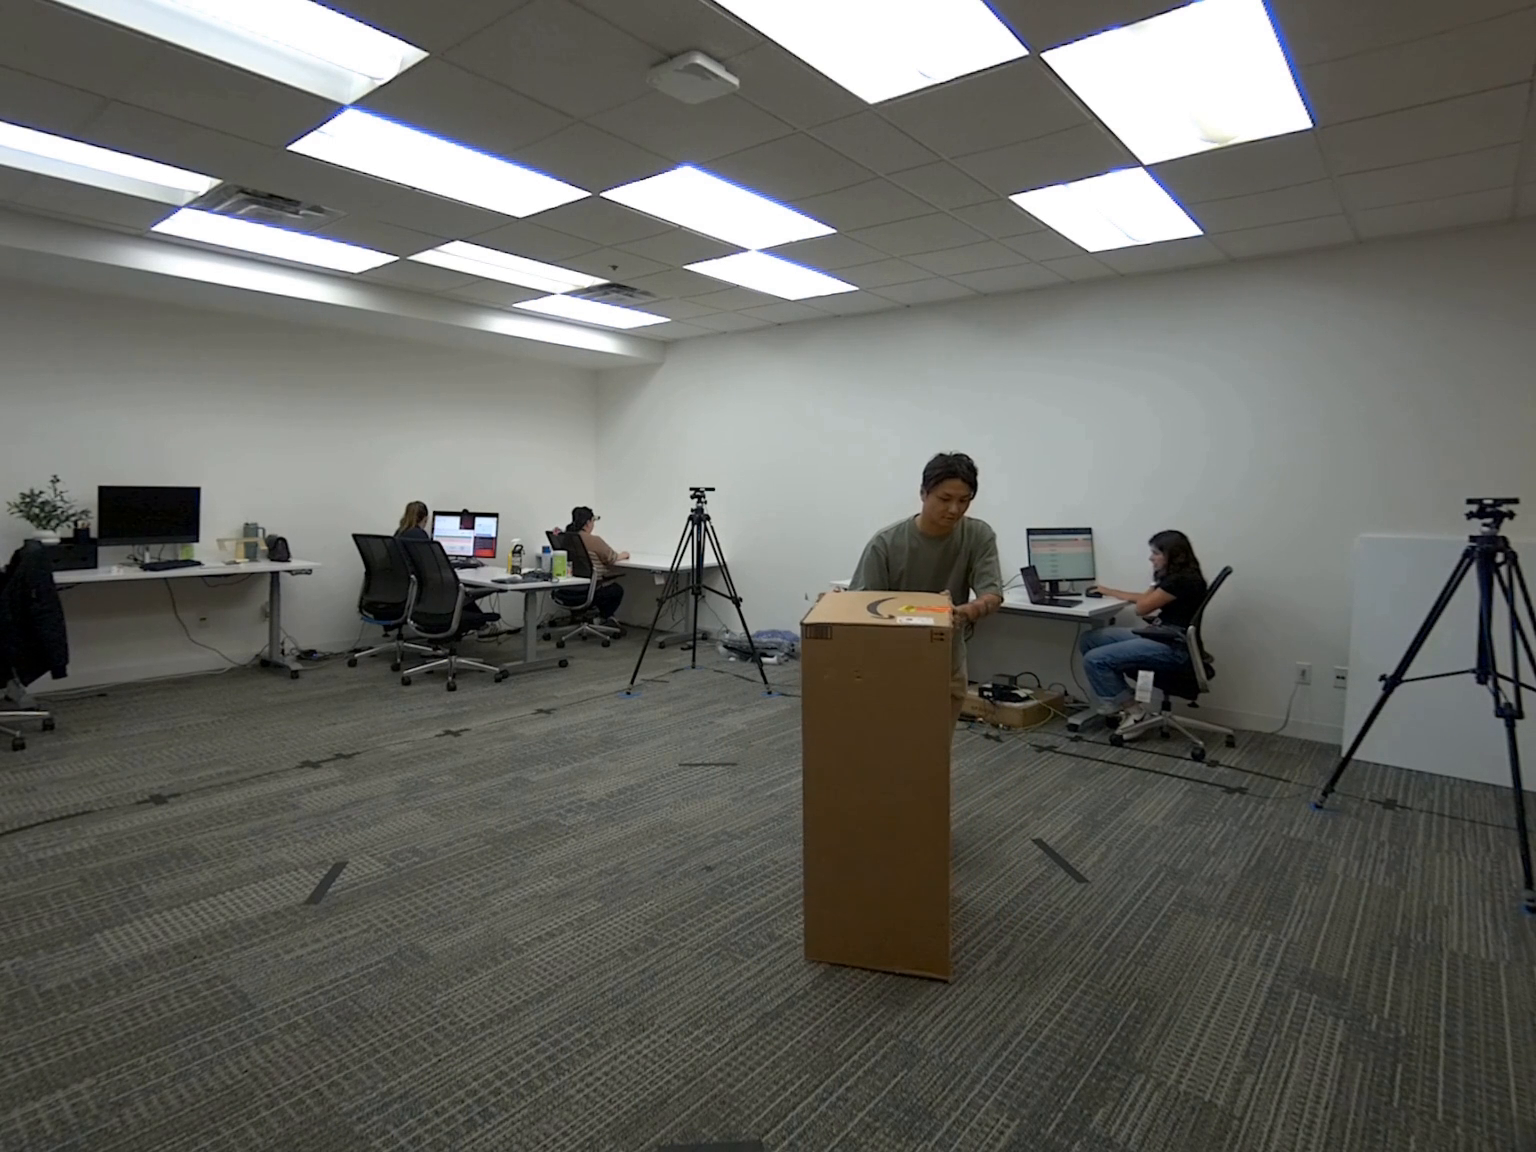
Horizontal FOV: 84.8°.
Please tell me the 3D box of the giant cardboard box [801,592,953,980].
[{"bbox_3d":[0.346,0.604,2.698,0.432,1.021,0.572,0,5,12],"label":"giant cardboard box"}]
